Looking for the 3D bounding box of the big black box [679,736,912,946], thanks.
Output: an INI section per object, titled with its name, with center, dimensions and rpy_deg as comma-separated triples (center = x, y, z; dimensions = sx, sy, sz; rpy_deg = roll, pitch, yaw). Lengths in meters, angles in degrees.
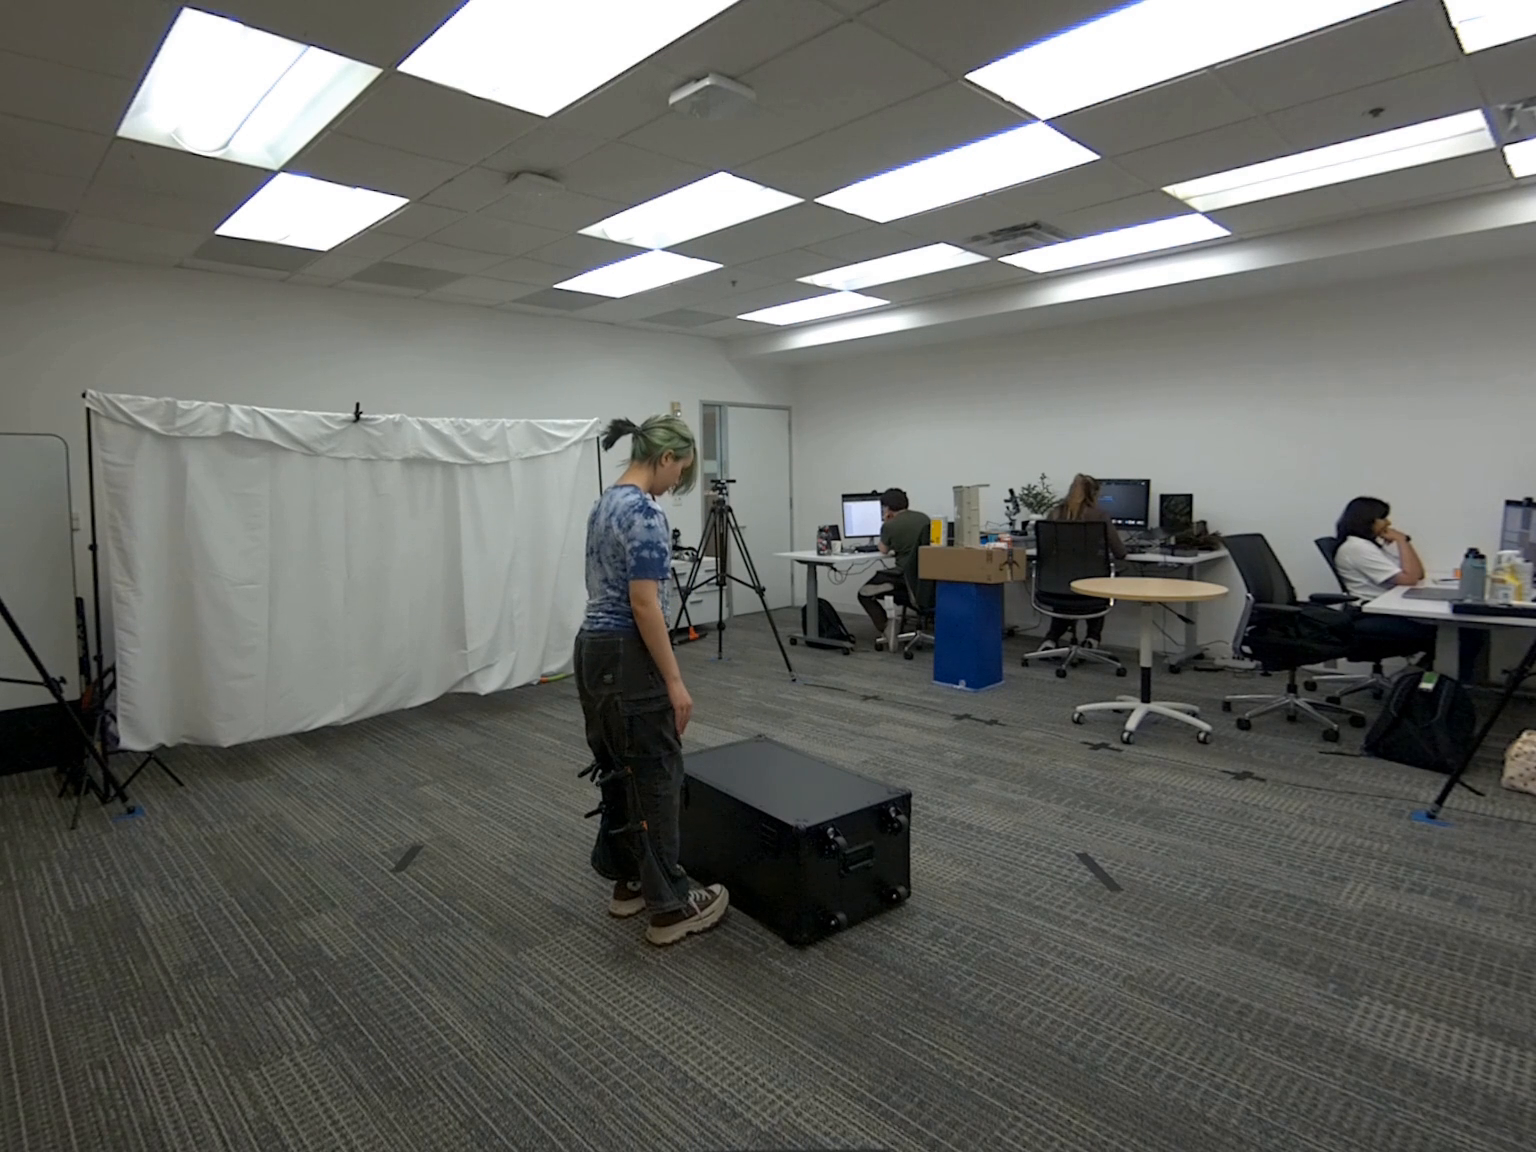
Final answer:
[big black box]
center = 0.059, 0.876, 2.936
dimensions = 0.508, 0.395, 0.887
rpy_deg = -5, 7, -38
